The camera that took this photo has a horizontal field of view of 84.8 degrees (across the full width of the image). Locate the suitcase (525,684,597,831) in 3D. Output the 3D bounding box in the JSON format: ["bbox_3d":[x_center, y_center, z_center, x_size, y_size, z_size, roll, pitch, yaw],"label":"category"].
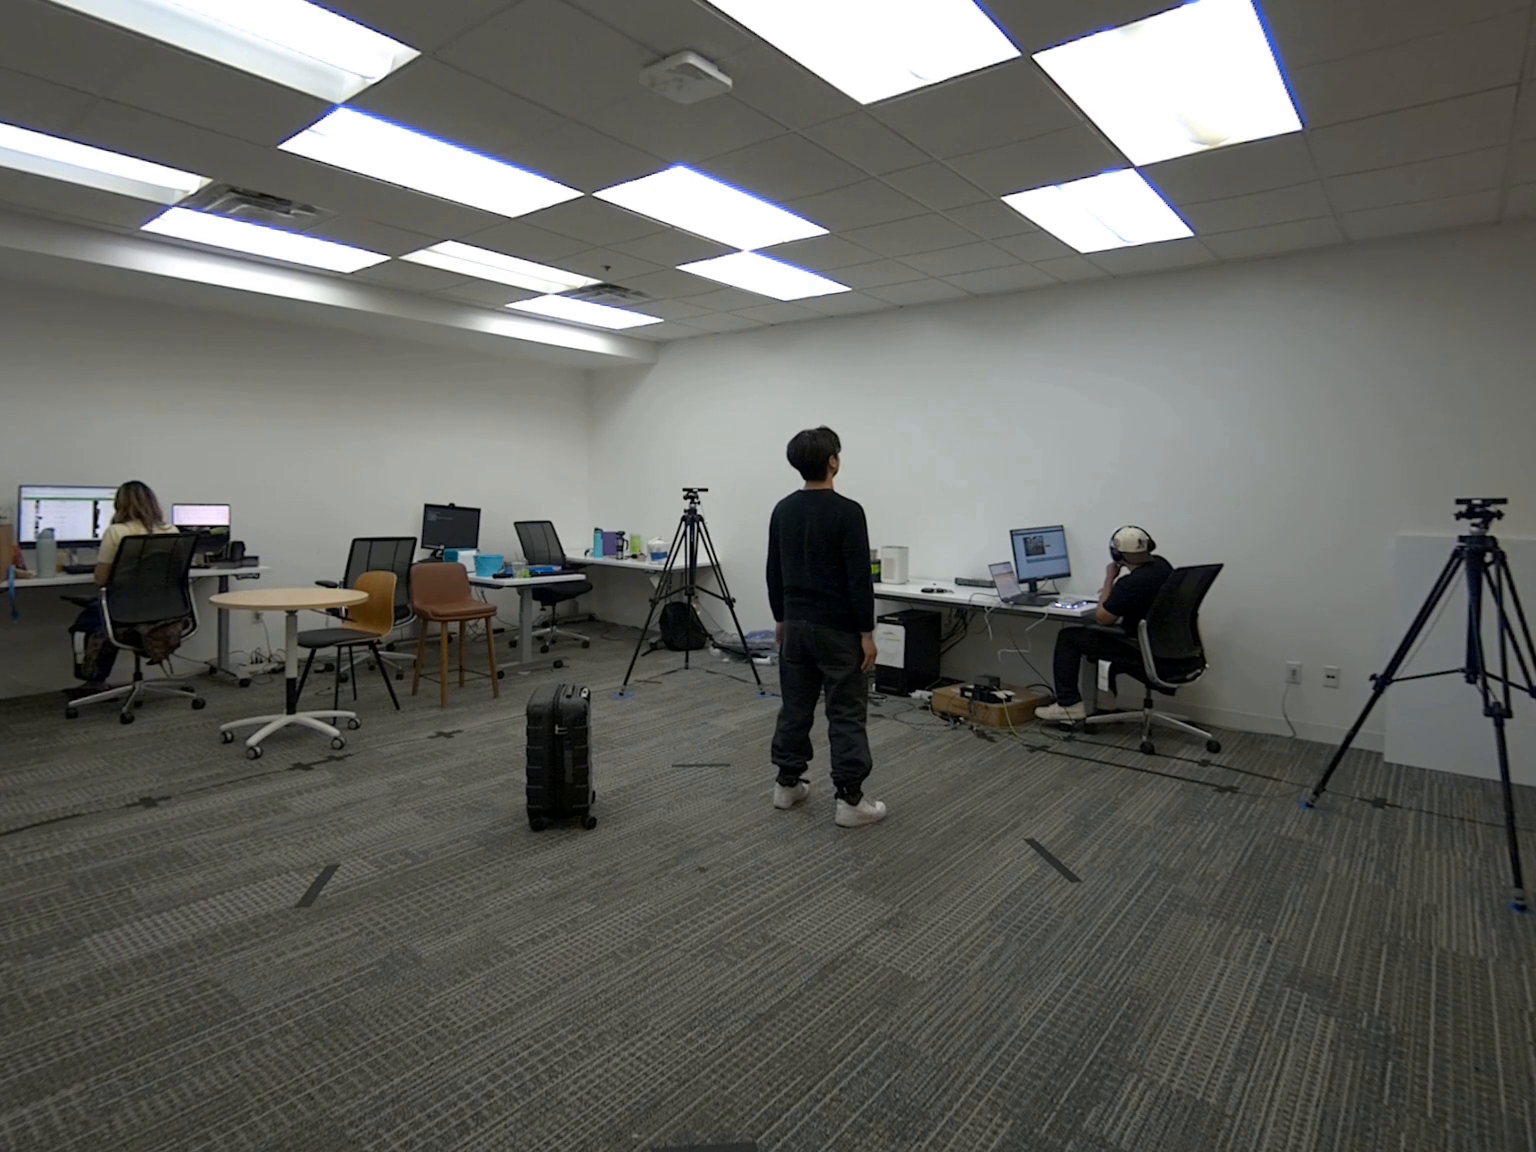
[{"bbox_3d":[-0.891,0.740,3.575,0.247,0.547,0.379,1,4,-7],"label":"suitcase"}]
